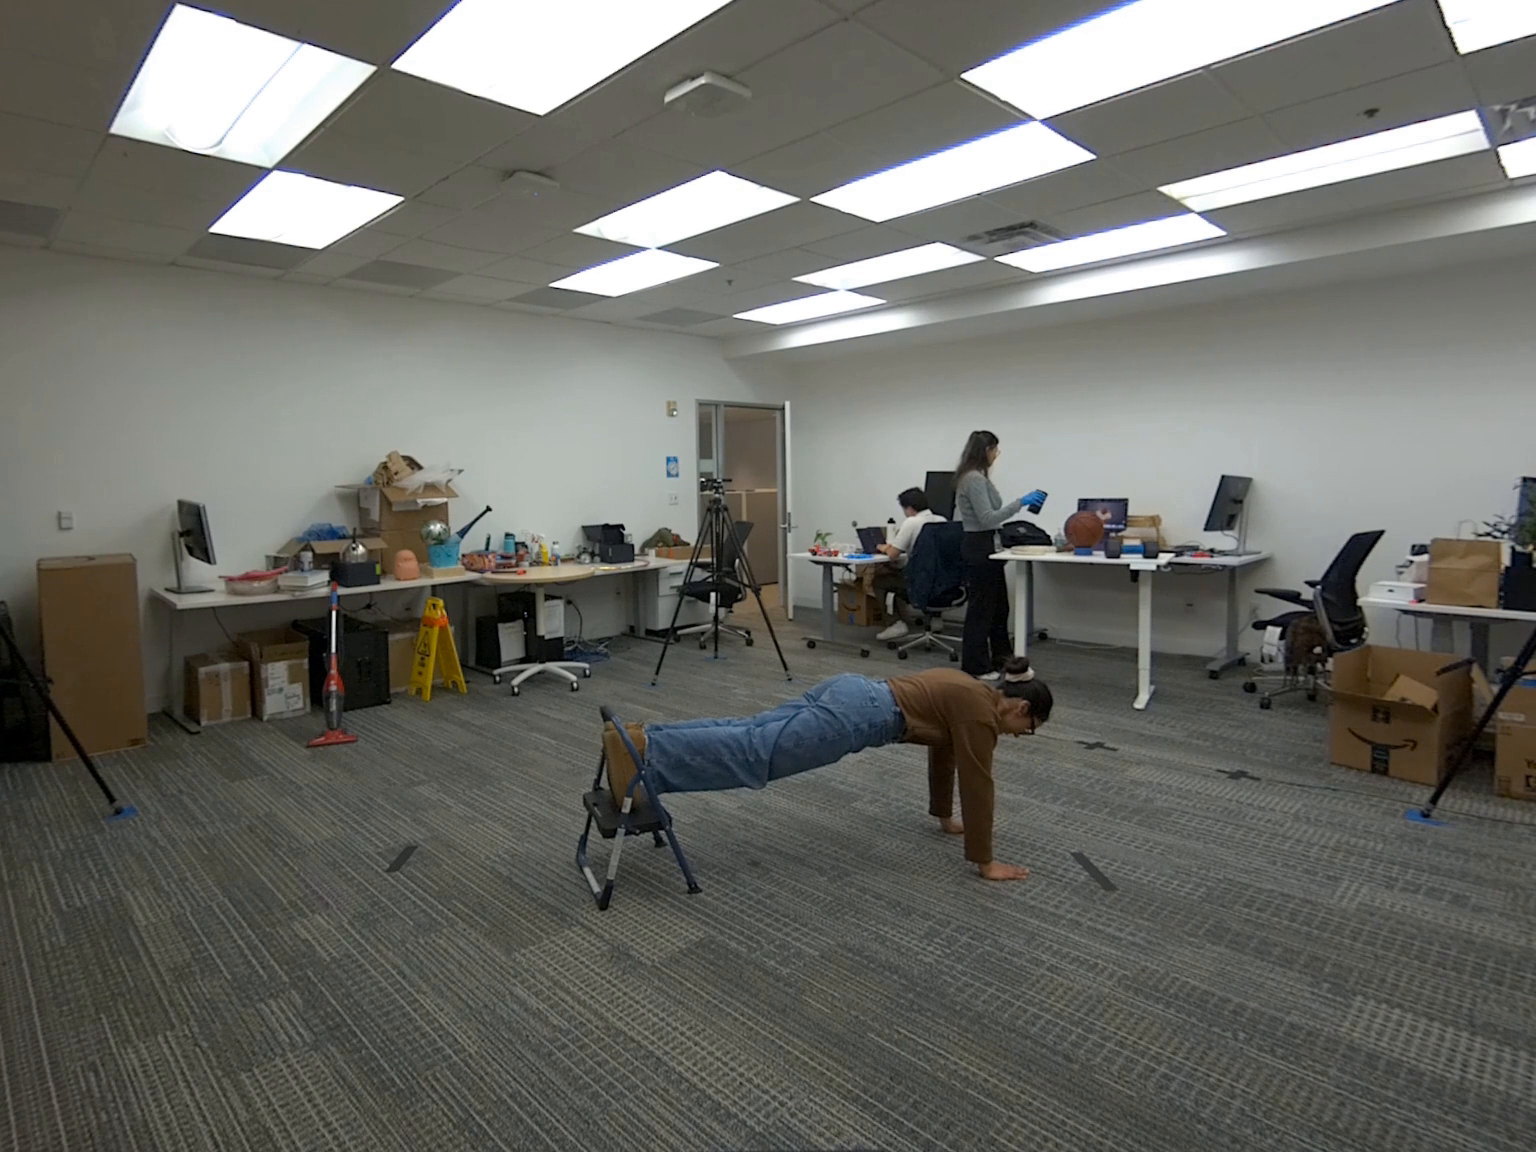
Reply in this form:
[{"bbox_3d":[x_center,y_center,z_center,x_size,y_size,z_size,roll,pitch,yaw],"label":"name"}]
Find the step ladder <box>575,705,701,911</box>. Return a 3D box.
[{"bbox_3d":[-0.473,0.763,3.008,0.342,0.604,0.441,-3,5,-24],"label":"step ladder"}]
